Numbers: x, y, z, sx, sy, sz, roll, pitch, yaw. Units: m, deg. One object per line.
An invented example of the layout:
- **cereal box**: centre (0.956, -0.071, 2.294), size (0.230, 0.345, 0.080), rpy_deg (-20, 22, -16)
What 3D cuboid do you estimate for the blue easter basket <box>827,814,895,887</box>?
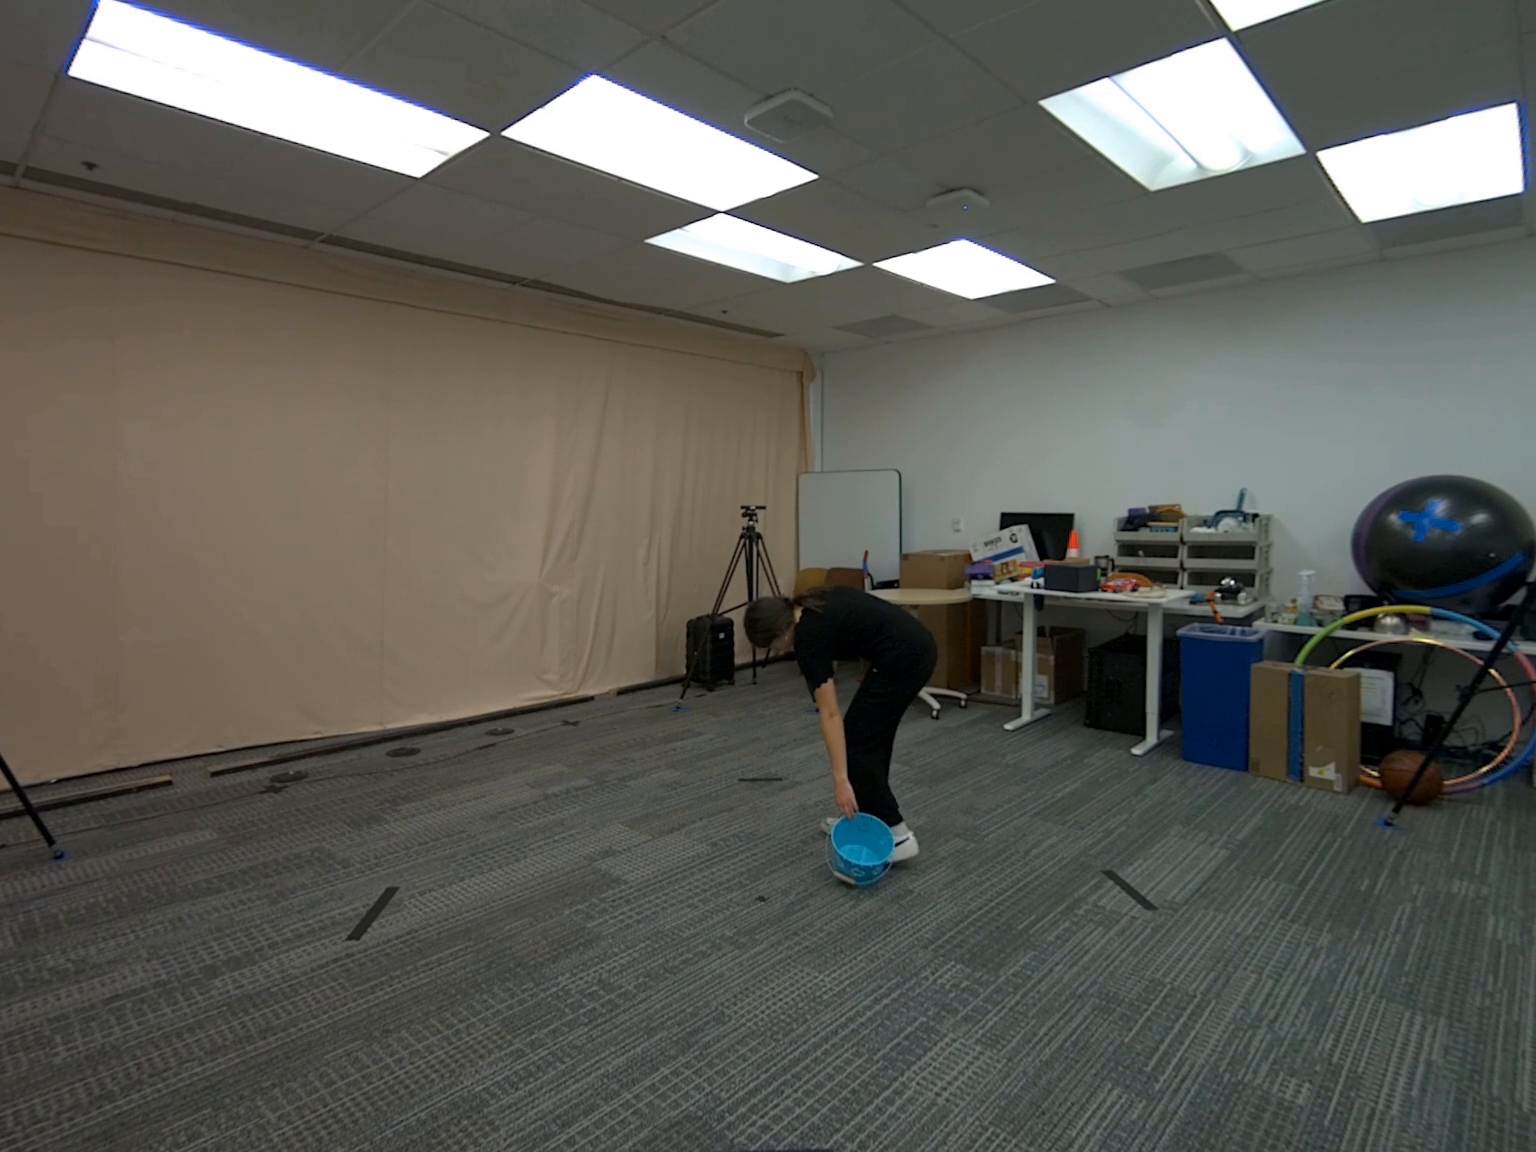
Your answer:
- **blue easter basket**: centre (0.336, 1.017, 3.114), size (0.243, 0.153, 0.248), rpy_deg (2, 30, -3)
